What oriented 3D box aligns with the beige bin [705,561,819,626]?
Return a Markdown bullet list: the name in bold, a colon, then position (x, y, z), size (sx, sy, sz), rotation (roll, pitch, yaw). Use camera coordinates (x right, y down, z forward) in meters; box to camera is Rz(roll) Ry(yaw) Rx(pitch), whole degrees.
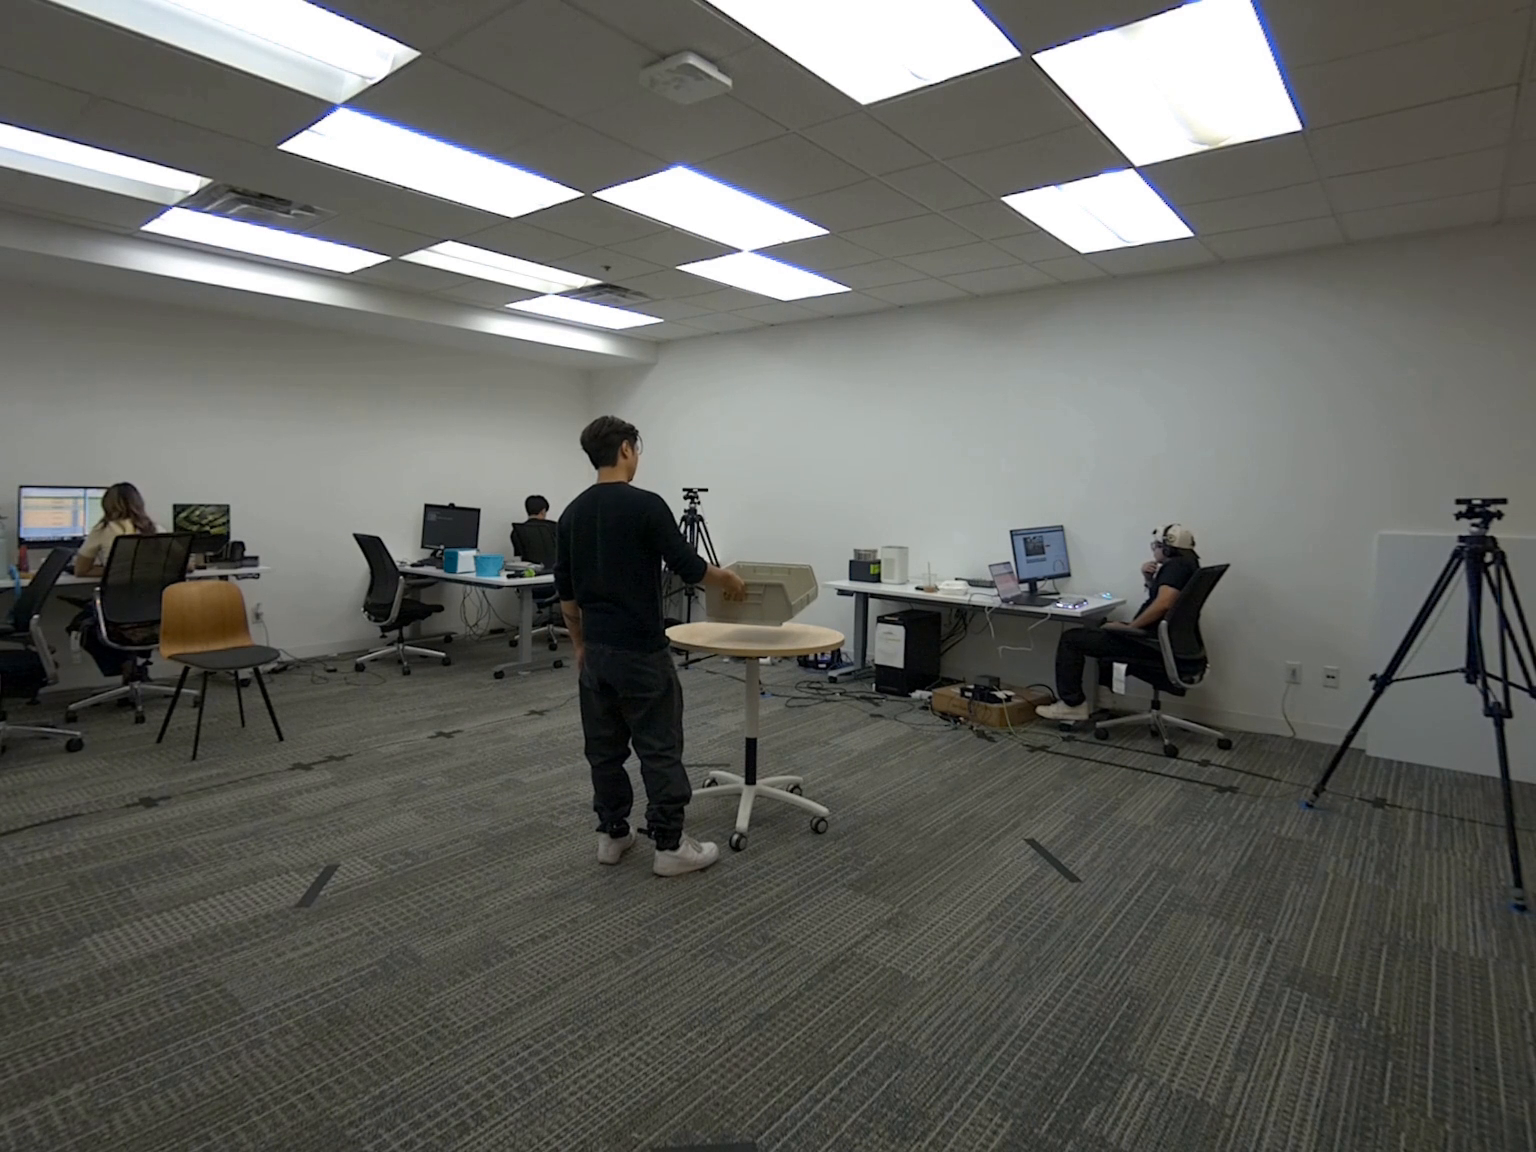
- **beige bin**: position (-0.014, 0.070, 3.540), size (0.385, 0.187, 0.418), rotation (1, 11, 18)
